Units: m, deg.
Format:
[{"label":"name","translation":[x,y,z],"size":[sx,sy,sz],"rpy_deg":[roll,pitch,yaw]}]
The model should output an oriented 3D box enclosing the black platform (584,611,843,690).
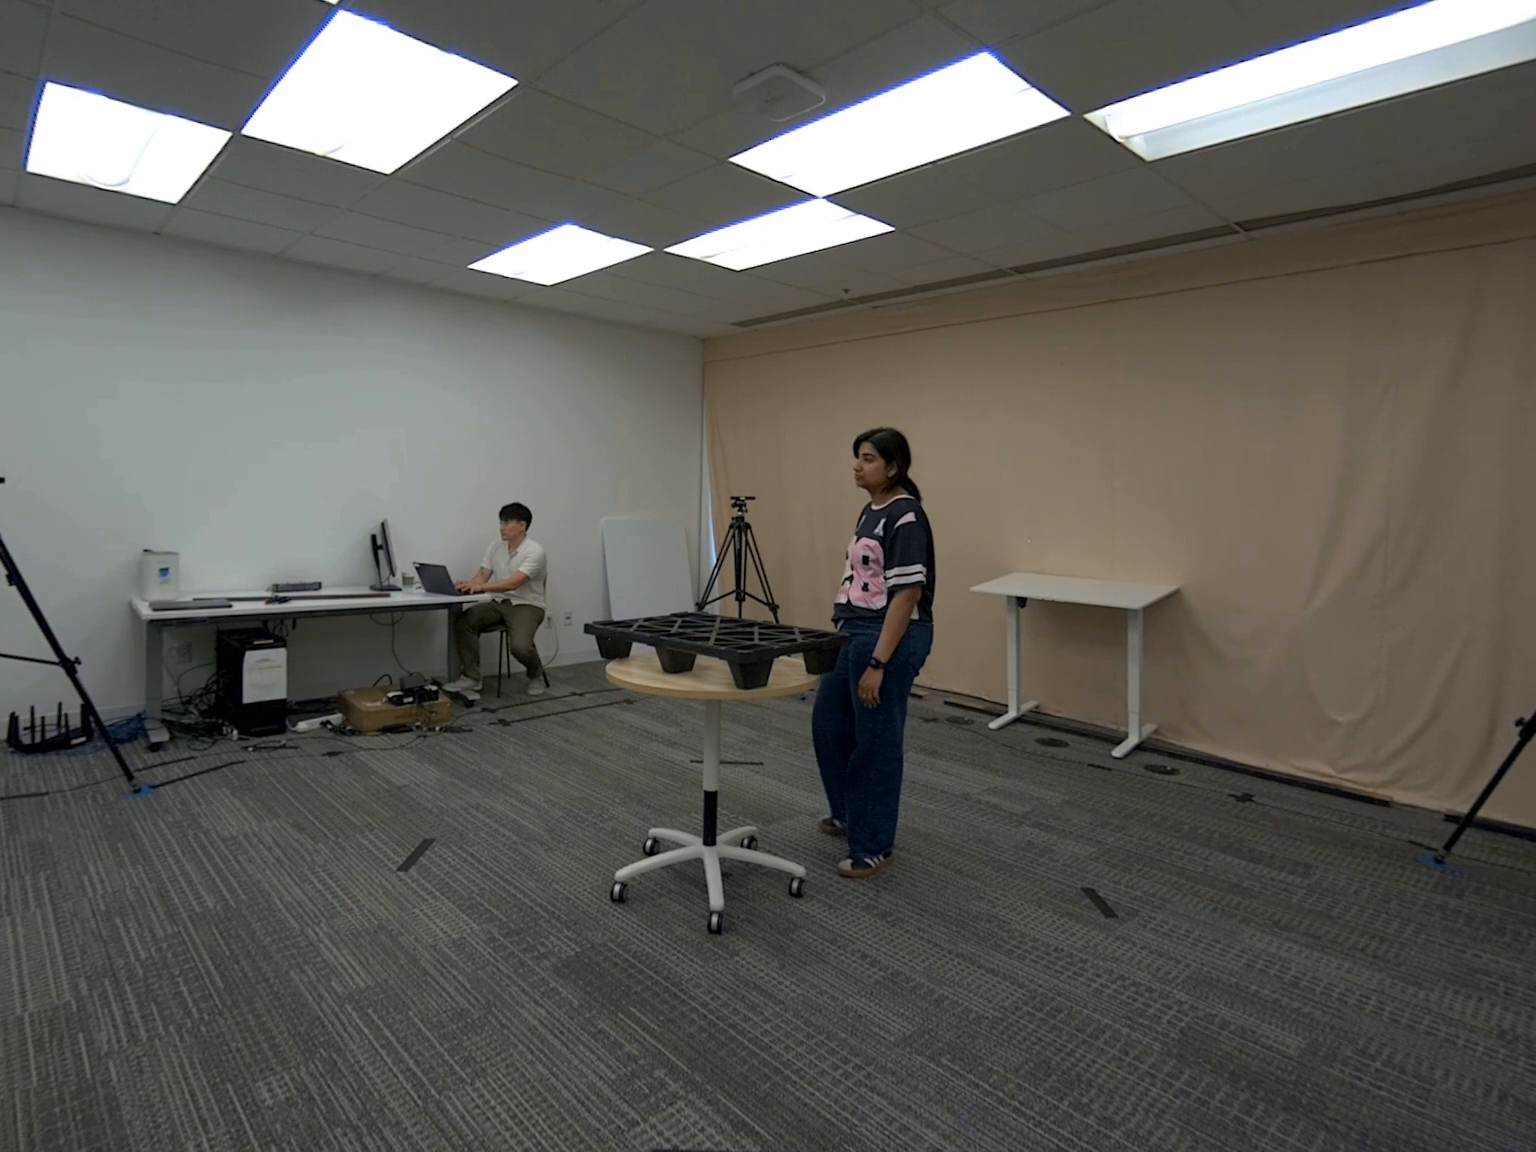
[{"label":"black platform","translation":[-0.200,0.257,3.063],"size":[0.826,0.143,0.591],"rpy_deg":[7,6,42]}]
